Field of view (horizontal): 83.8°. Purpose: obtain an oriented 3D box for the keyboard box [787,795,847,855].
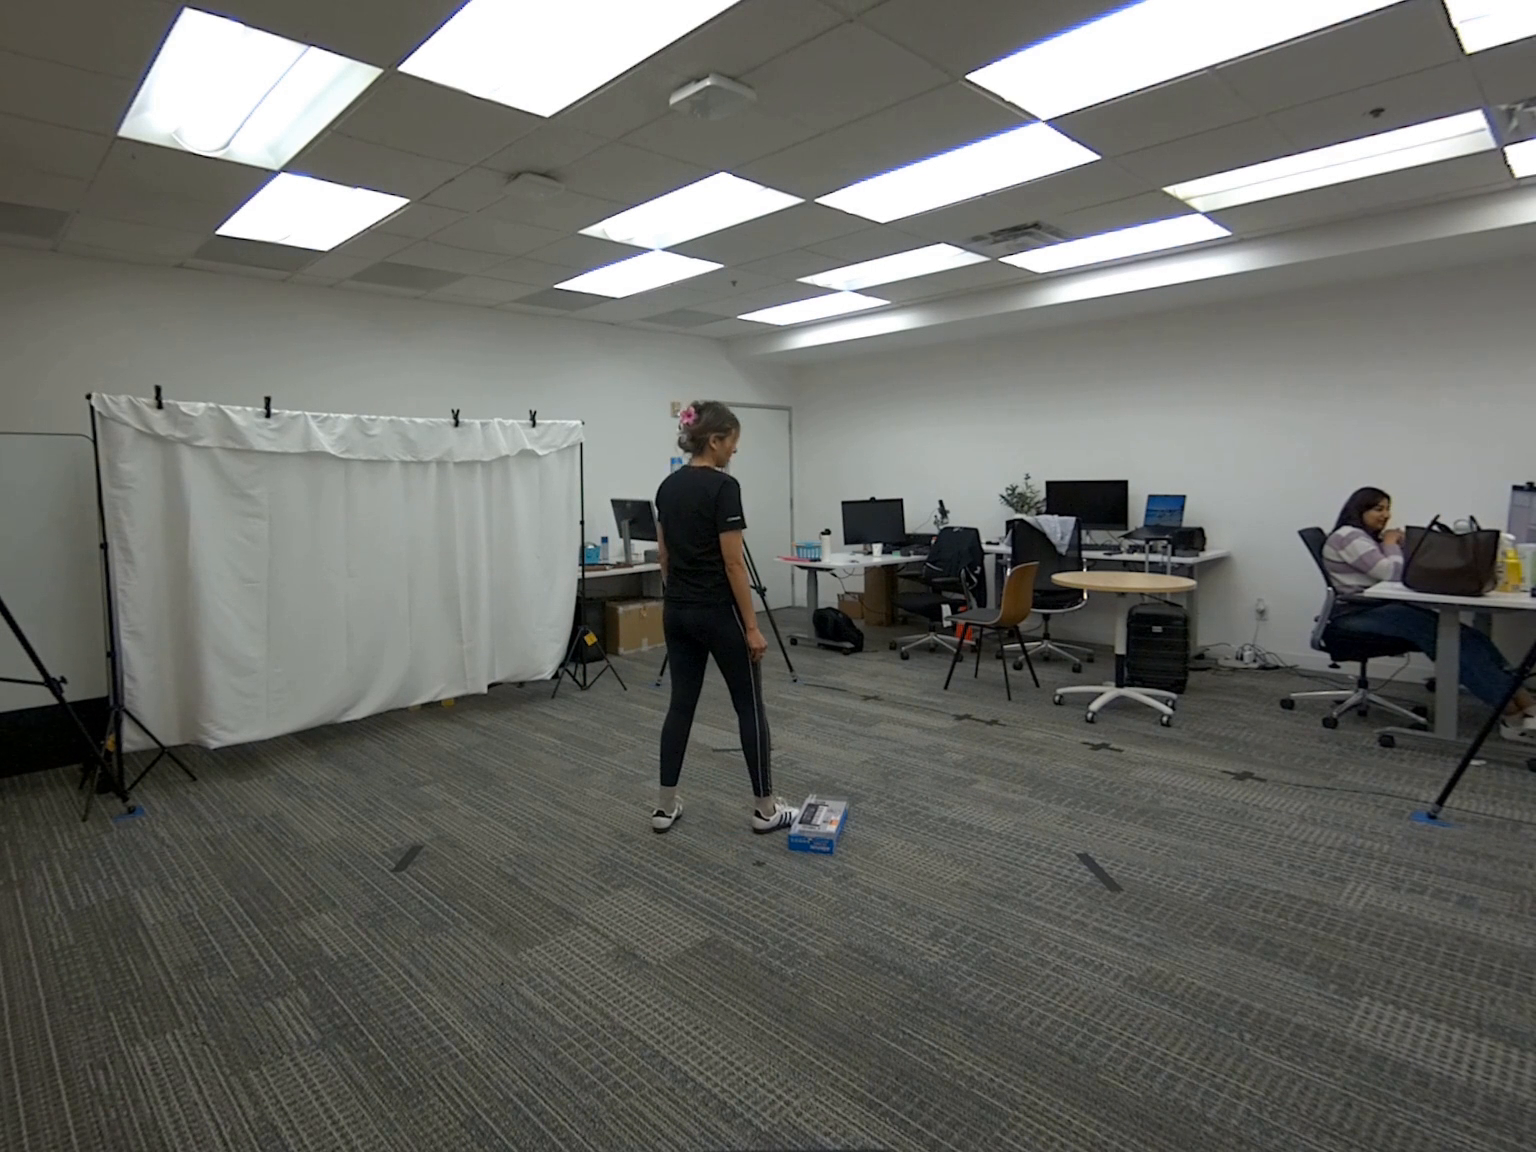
[{"bbox_3d":[0.210,0.981,3.406,0.178,0.059,0.432,1,7,14],"label":"keyboard box"}]
